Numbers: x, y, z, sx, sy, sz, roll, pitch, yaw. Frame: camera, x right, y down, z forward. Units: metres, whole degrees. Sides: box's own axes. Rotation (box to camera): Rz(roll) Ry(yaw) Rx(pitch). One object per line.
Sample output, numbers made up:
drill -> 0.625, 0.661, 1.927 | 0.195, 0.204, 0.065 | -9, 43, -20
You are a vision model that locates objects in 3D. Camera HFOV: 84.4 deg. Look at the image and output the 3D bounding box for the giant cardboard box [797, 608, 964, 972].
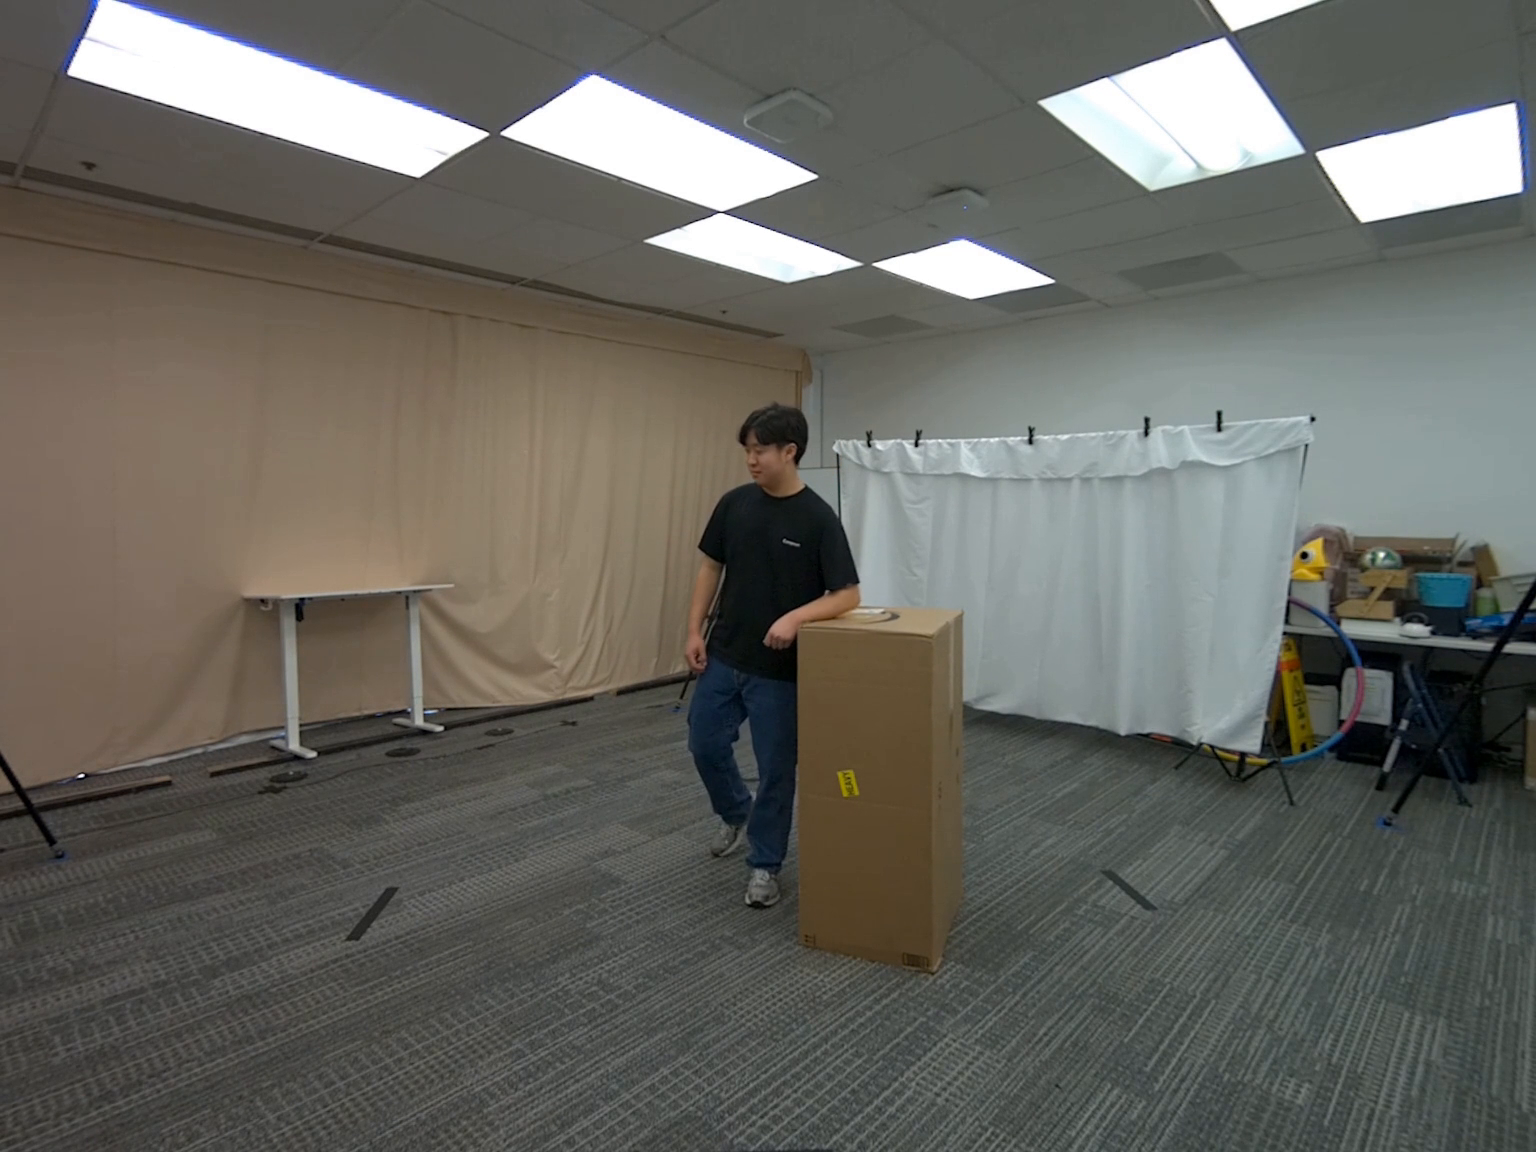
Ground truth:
giant cardboard box -> 0.398, 0.644, 2.812 | 0.458, 1.025, 0.571 | 0, 3, 24
